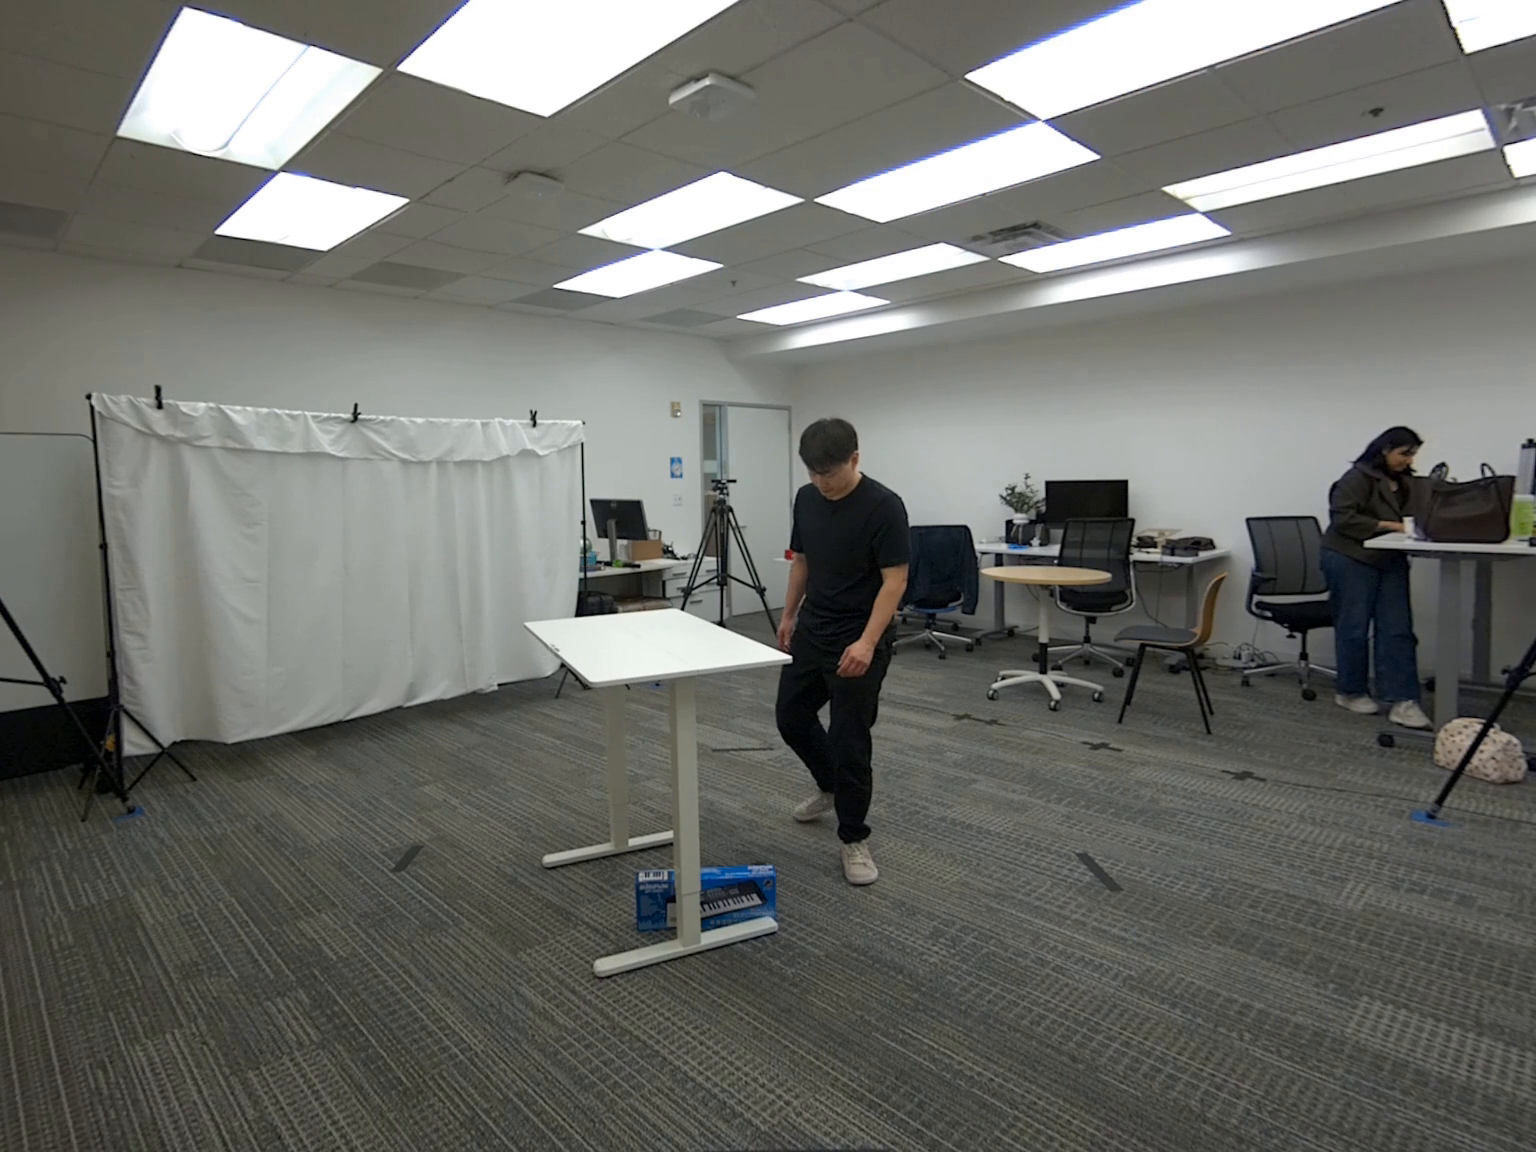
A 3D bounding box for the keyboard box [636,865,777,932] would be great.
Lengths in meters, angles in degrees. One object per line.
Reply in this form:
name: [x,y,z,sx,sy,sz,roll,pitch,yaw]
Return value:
keyboard box: [-0.191,1.012,2.679,0.435,0.174,0.060,-1,11,-4]
